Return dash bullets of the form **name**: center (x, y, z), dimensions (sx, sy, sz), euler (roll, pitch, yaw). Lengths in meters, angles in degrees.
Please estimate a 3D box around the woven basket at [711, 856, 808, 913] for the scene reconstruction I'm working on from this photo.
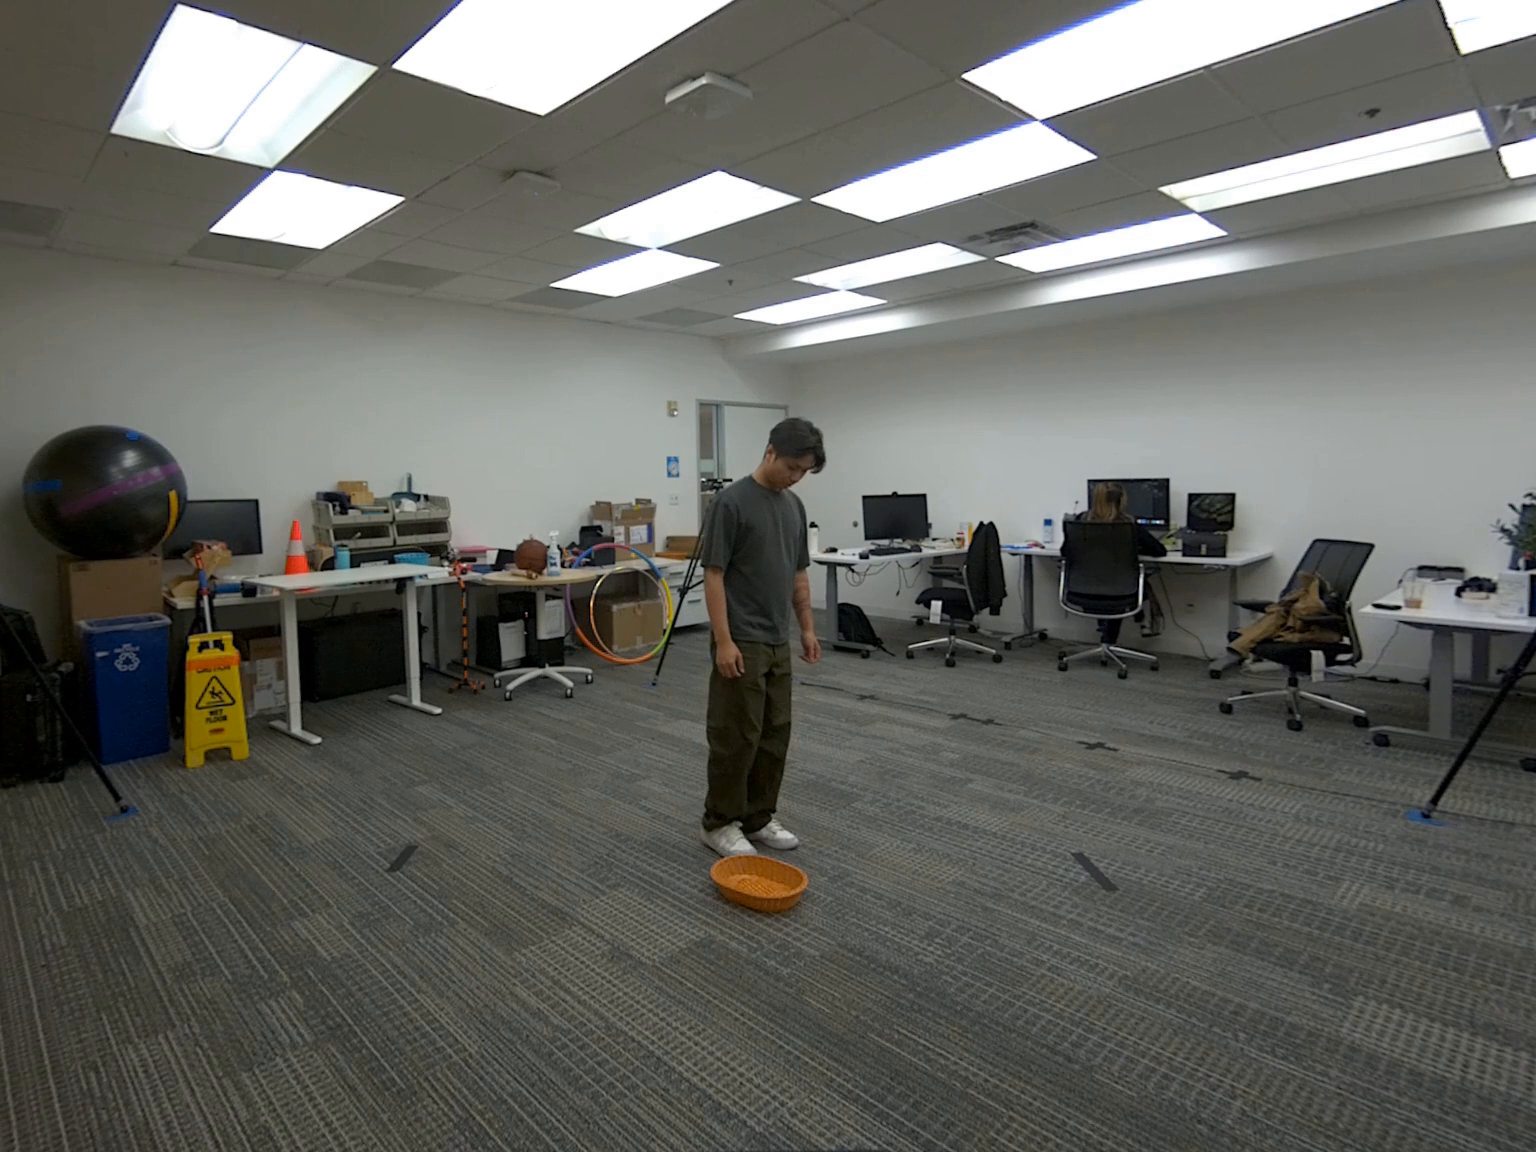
- **woven basket**: center (-0.033, 1.038, 2.869), dimensions (0.361, 0.073, 0.246), euler (4, 9, 41)
